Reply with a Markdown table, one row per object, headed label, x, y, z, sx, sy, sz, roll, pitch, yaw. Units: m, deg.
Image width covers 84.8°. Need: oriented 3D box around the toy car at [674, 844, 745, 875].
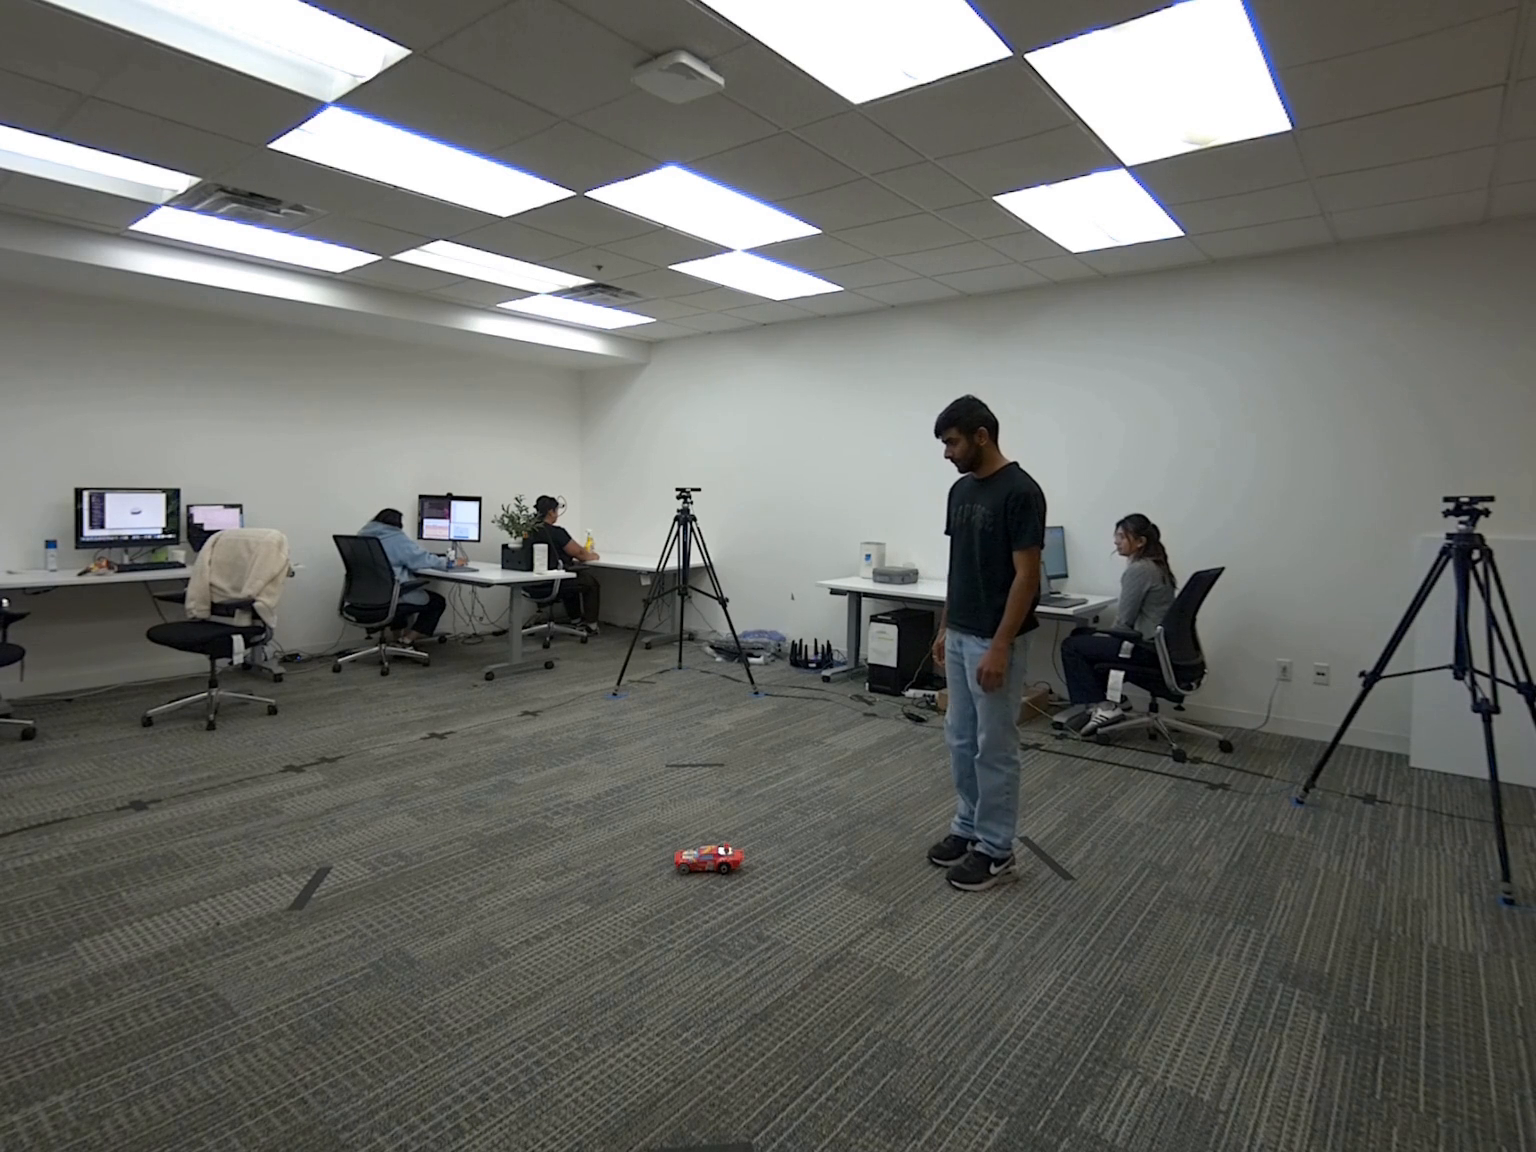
| label | x | y | z | sx | sy | sz | roll | pitch | yaw |
| --- | --- | --- | --- | --- | --- | --- | --- | --- | --- |
| toy car | -0.222 | 1.037 | 3.113 | 0.254 | 0.083 | 0.131 | -10 | 6 | -2 |
